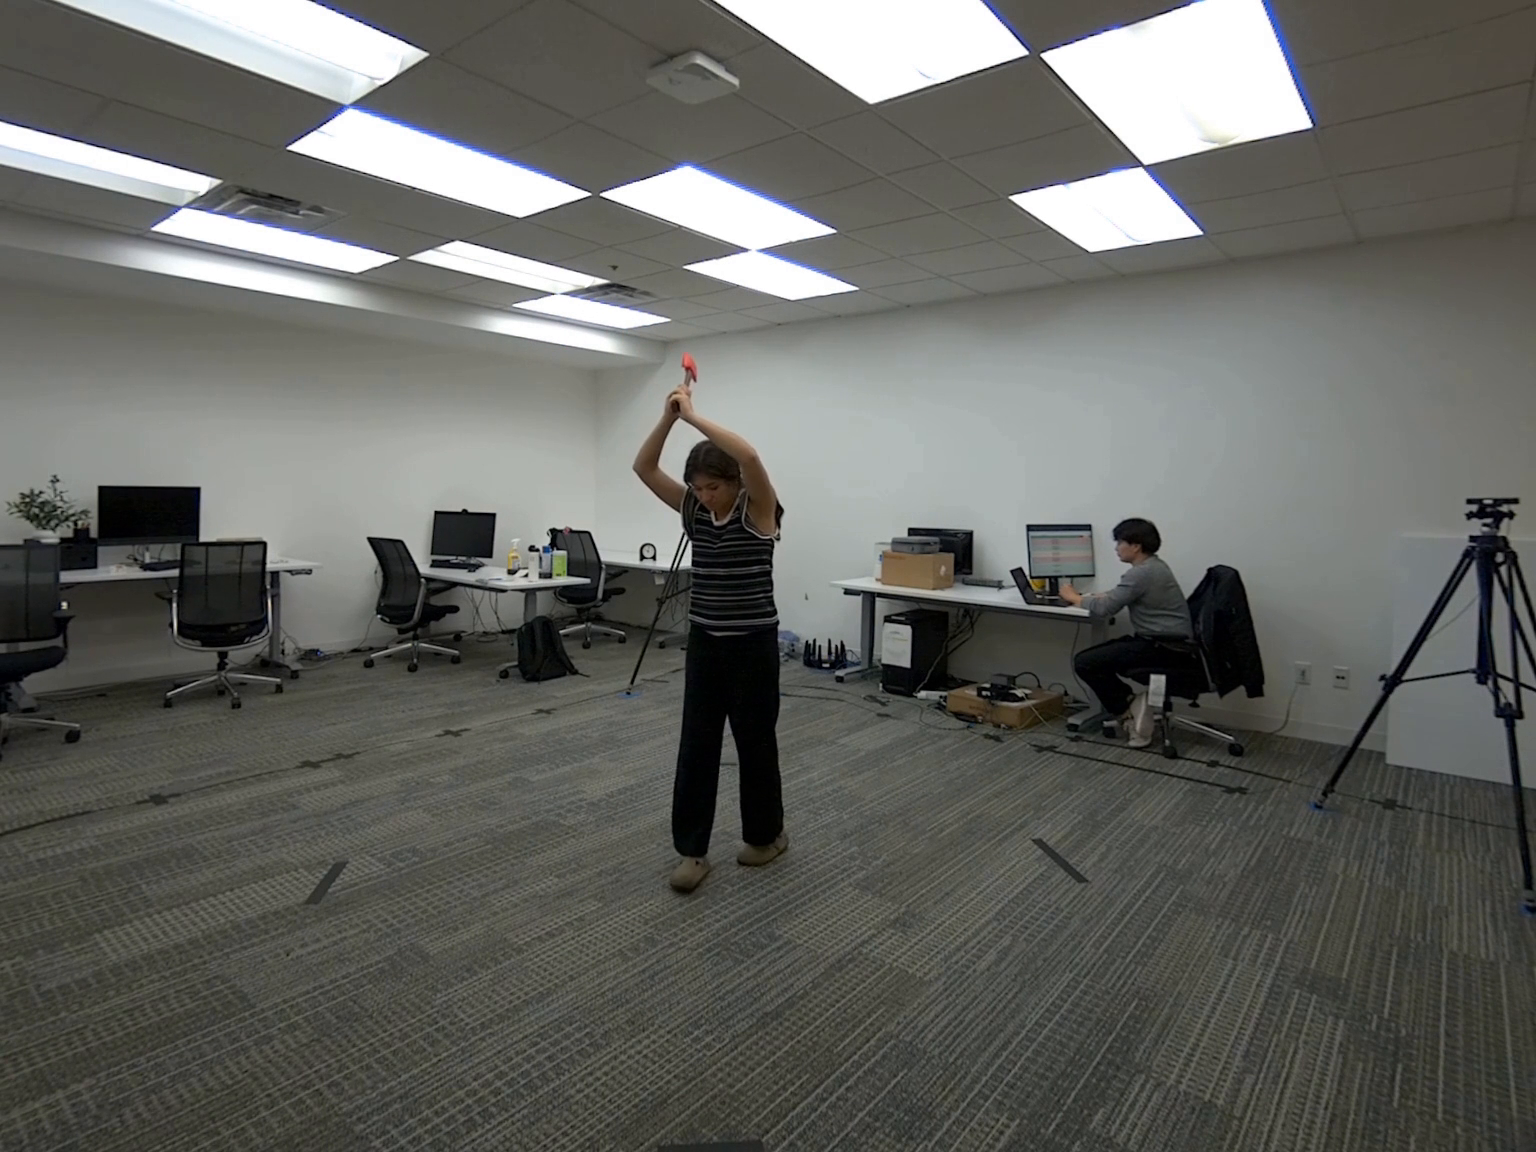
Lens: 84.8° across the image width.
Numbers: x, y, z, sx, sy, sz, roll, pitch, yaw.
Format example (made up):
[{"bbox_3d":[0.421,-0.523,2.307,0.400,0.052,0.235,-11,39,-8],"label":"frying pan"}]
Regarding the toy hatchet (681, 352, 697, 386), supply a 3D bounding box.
[{"bbox_3d":[-0.297,-0.670,2.867,0.030,0.127,0.274,-4,32,12],"label":"toy hatchet"}]
